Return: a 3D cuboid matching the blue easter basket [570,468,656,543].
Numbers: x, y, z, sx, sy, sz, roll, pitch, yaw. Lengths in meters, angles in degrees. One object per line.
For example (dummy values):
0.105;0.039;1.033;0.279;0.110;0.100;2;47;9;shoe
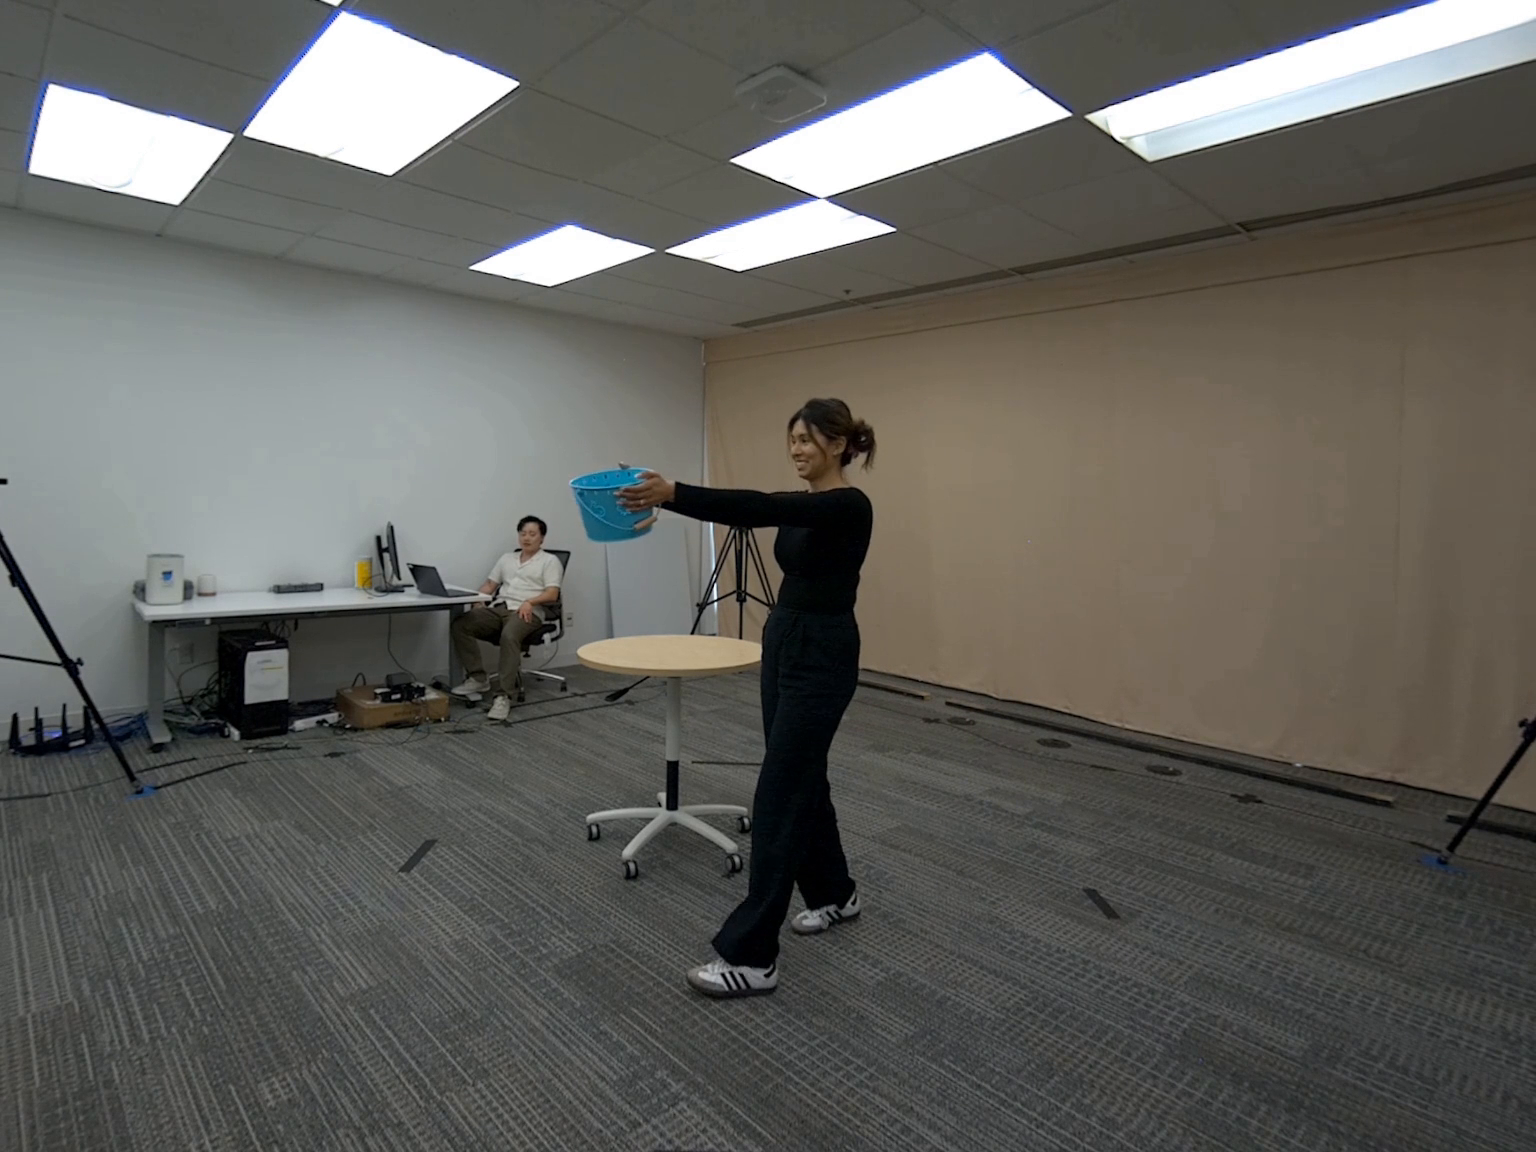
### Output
-0.408;-0.187;2.262;0.243;0.154;0.246;-1;15;-1;blue easter basket
